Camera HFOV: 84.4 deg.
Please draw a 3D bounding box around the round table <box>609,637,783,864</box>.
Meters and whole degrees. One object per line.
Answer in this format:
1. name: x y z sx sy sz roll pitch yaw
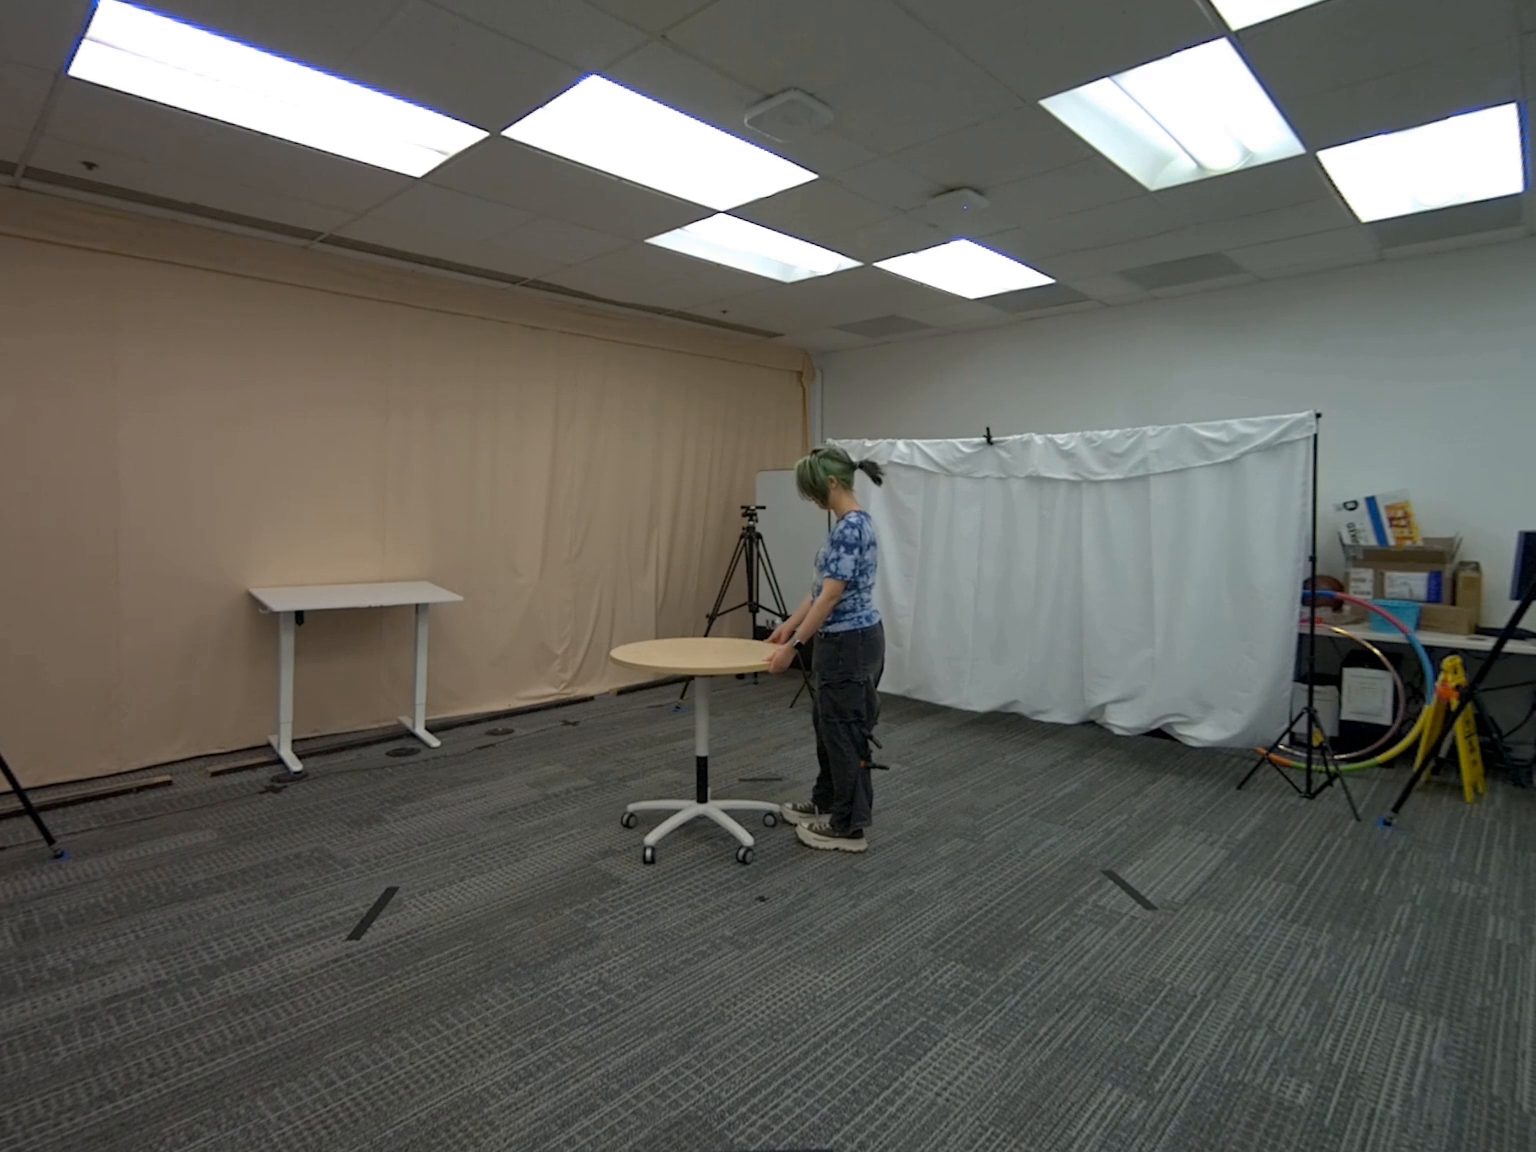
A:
1. round table: -0.281 0.713 3.547 0.763 0.792 0.766 0 3 -2
